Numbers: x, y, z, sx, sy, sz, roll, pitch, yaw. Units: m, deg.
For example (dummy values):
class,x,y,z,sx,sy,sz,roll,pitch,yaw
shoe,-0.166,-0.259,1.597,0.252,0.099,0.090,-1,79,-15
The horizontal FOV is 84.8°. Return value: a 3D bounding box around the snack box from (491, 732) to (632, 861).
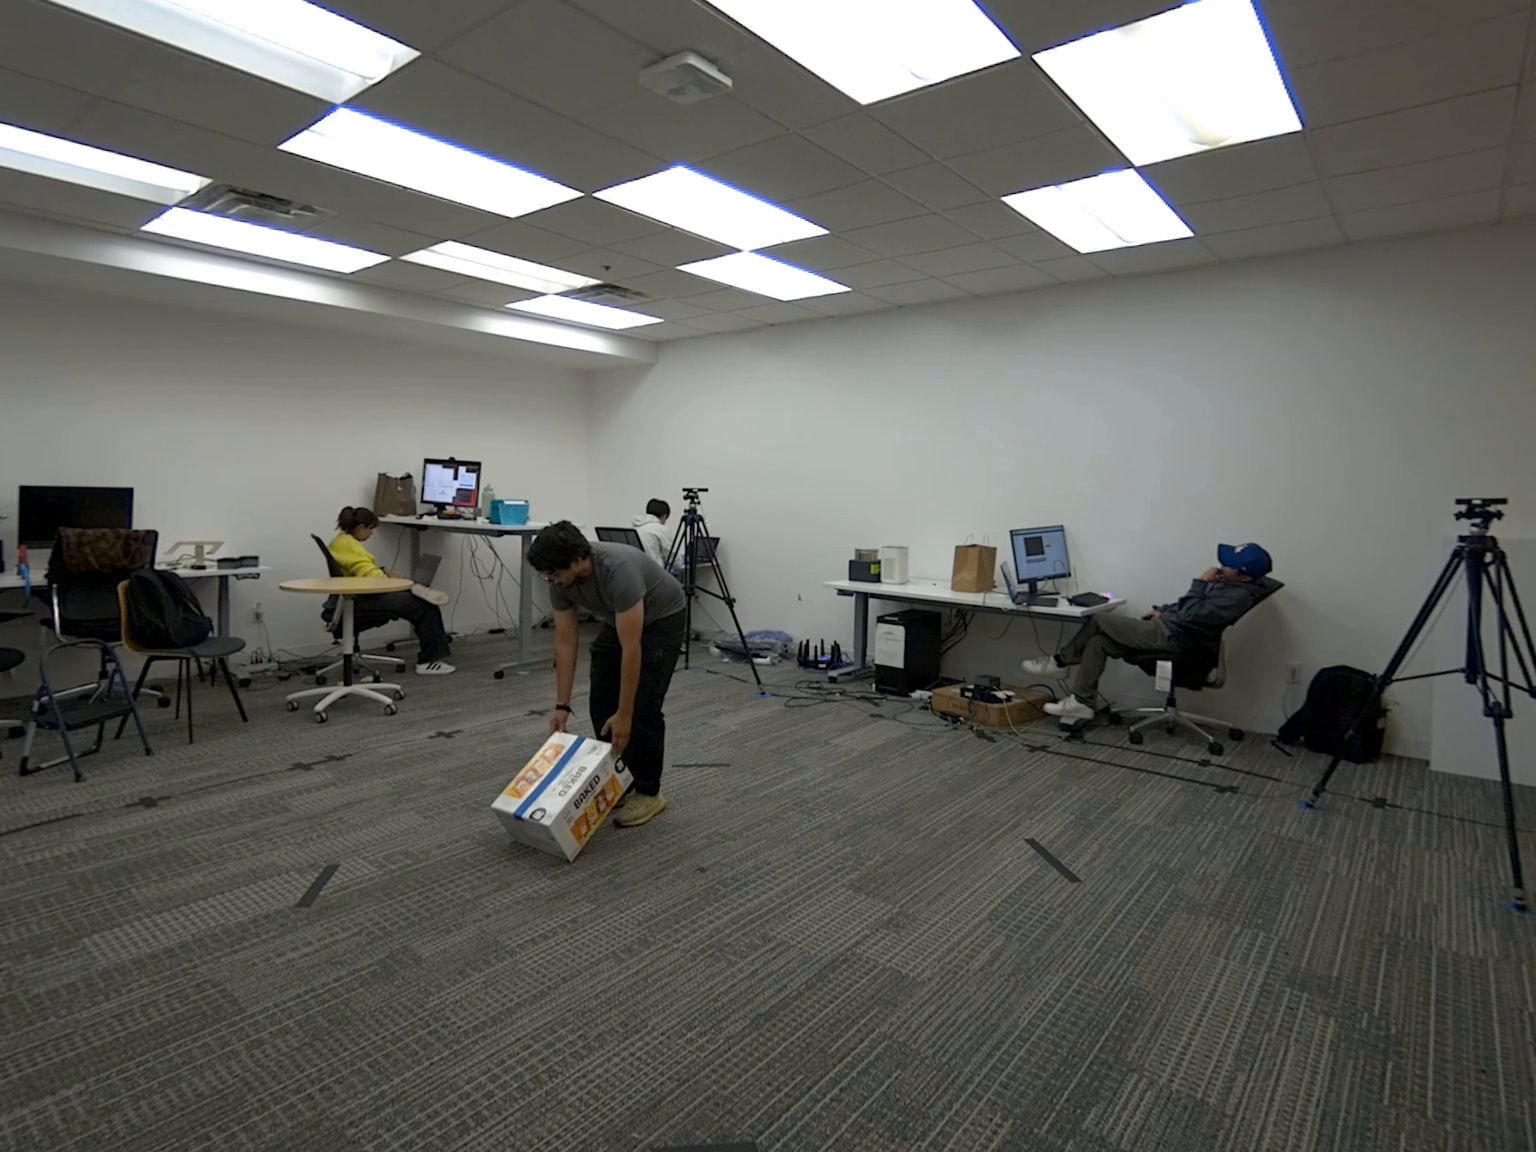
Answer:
class,x,y,z,sx,sy,sz,roll,pitch,yaw
snack box,-0.812,0.846,3.315,0.351,0.199,0.406,1,38,36
